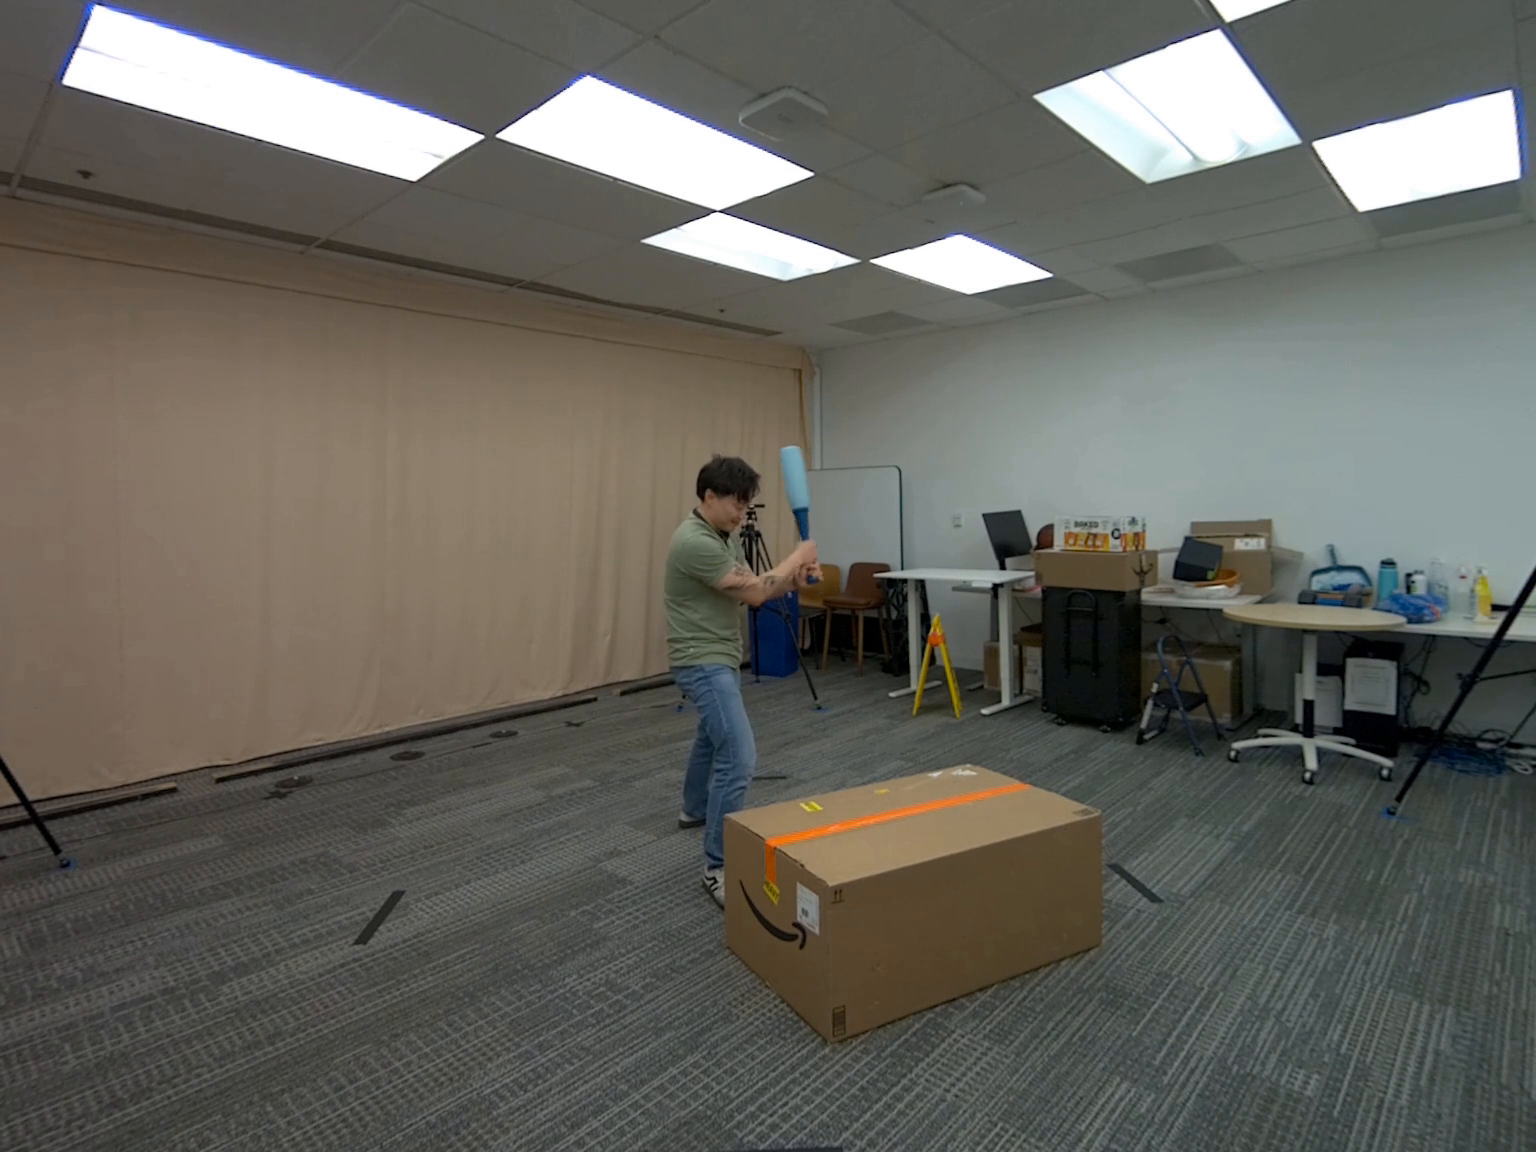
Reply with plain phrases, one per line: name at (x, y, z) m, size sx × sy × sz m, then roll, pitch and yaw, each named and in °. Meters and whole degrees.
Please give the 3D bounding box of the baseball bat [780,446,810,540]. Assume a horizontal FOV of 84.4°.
baseball bat at (0.118, -0.198, 3.254) m, size 0.089 × 0.546 × 0.089 m, roll -9°, pitch -8°, yaw -3°
